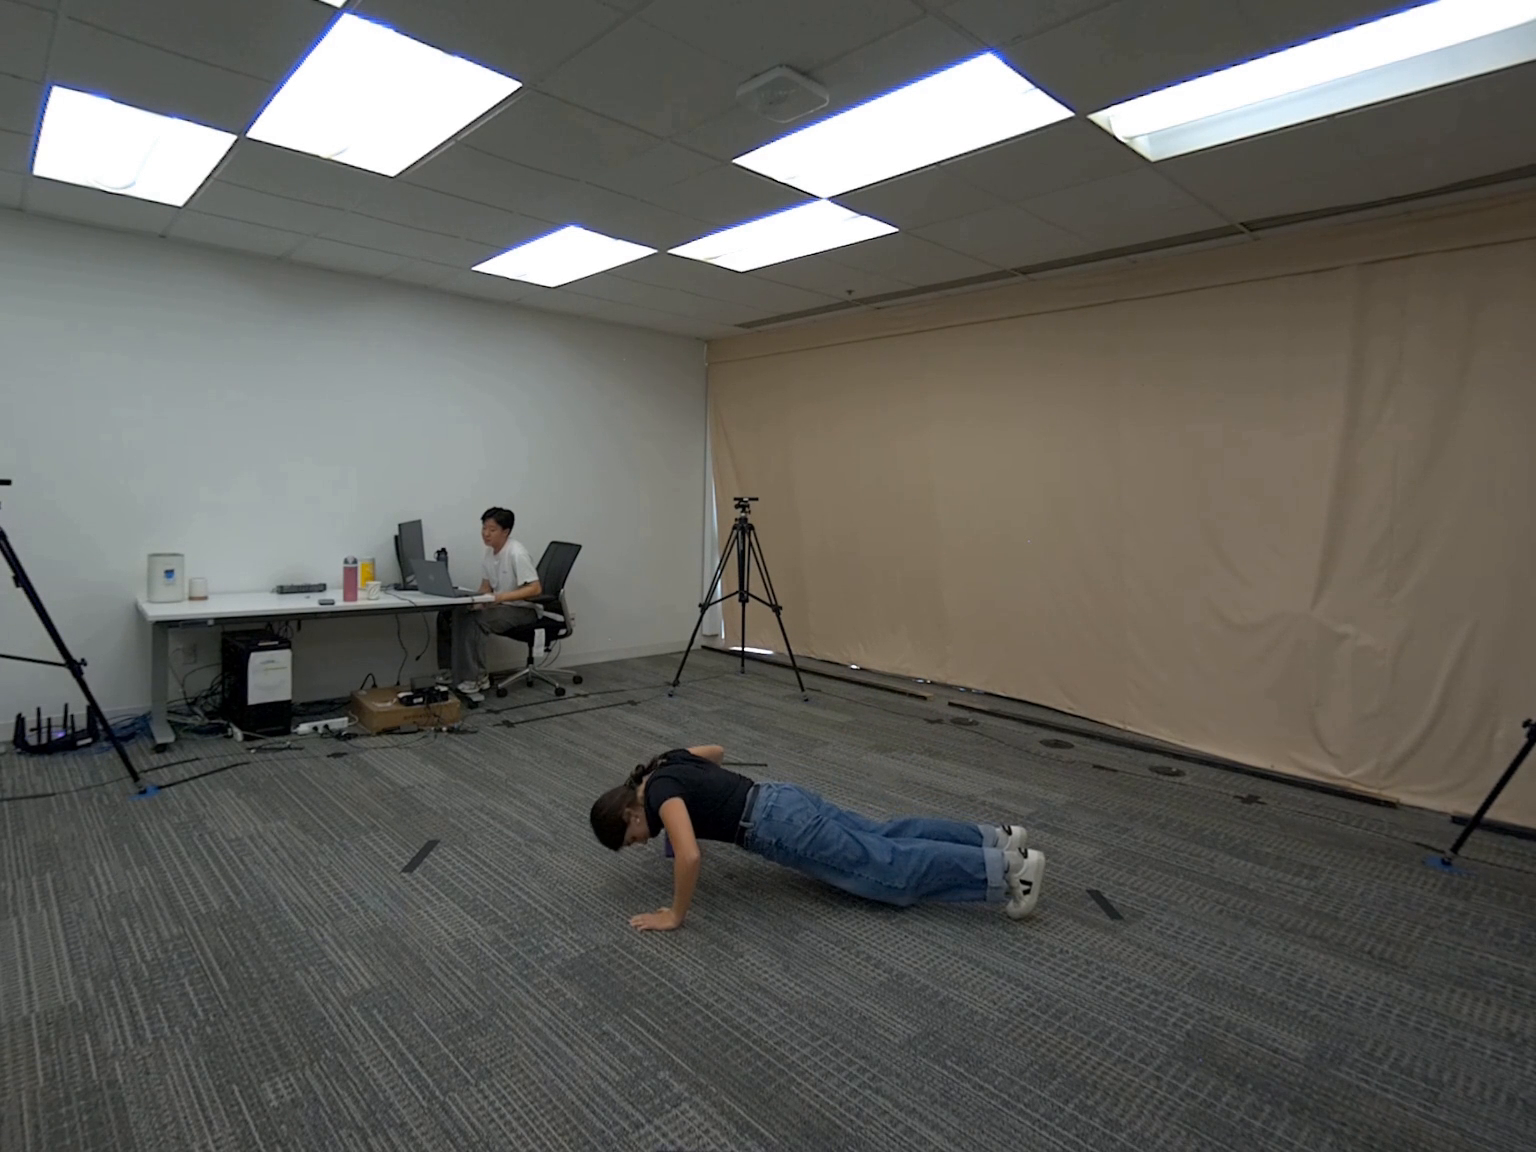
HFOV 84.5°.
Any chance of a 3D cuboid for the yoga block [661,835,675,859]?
[{"bbox_3d":[-0.352,1.017,3.354,0.077,0.148,0.229,3,7,6],"label":"yoga block"}]
